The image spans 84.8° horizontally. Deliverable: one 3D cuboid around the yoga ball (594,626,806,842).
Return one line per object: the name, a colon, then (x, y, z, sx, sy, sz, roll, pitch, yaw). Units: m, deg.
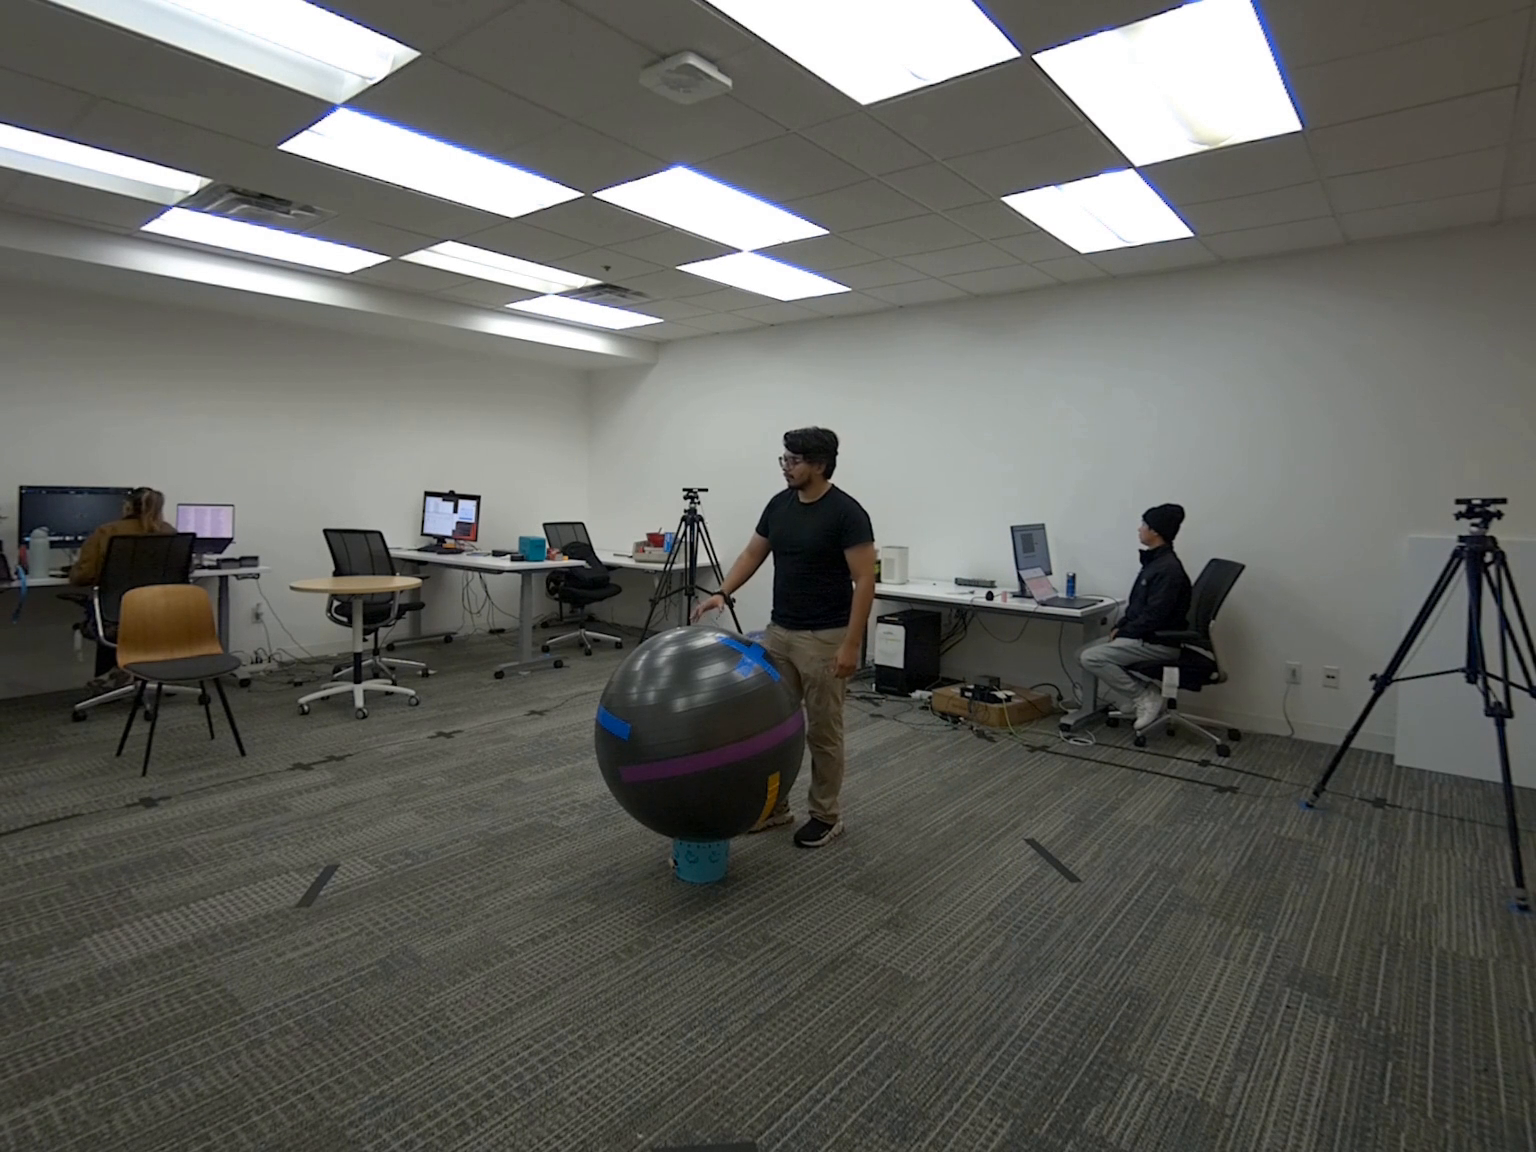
yoga ball: (-0.261, 0.568, 3.063, 0.757, 0.756, 0.762, 1, 4, -2)
